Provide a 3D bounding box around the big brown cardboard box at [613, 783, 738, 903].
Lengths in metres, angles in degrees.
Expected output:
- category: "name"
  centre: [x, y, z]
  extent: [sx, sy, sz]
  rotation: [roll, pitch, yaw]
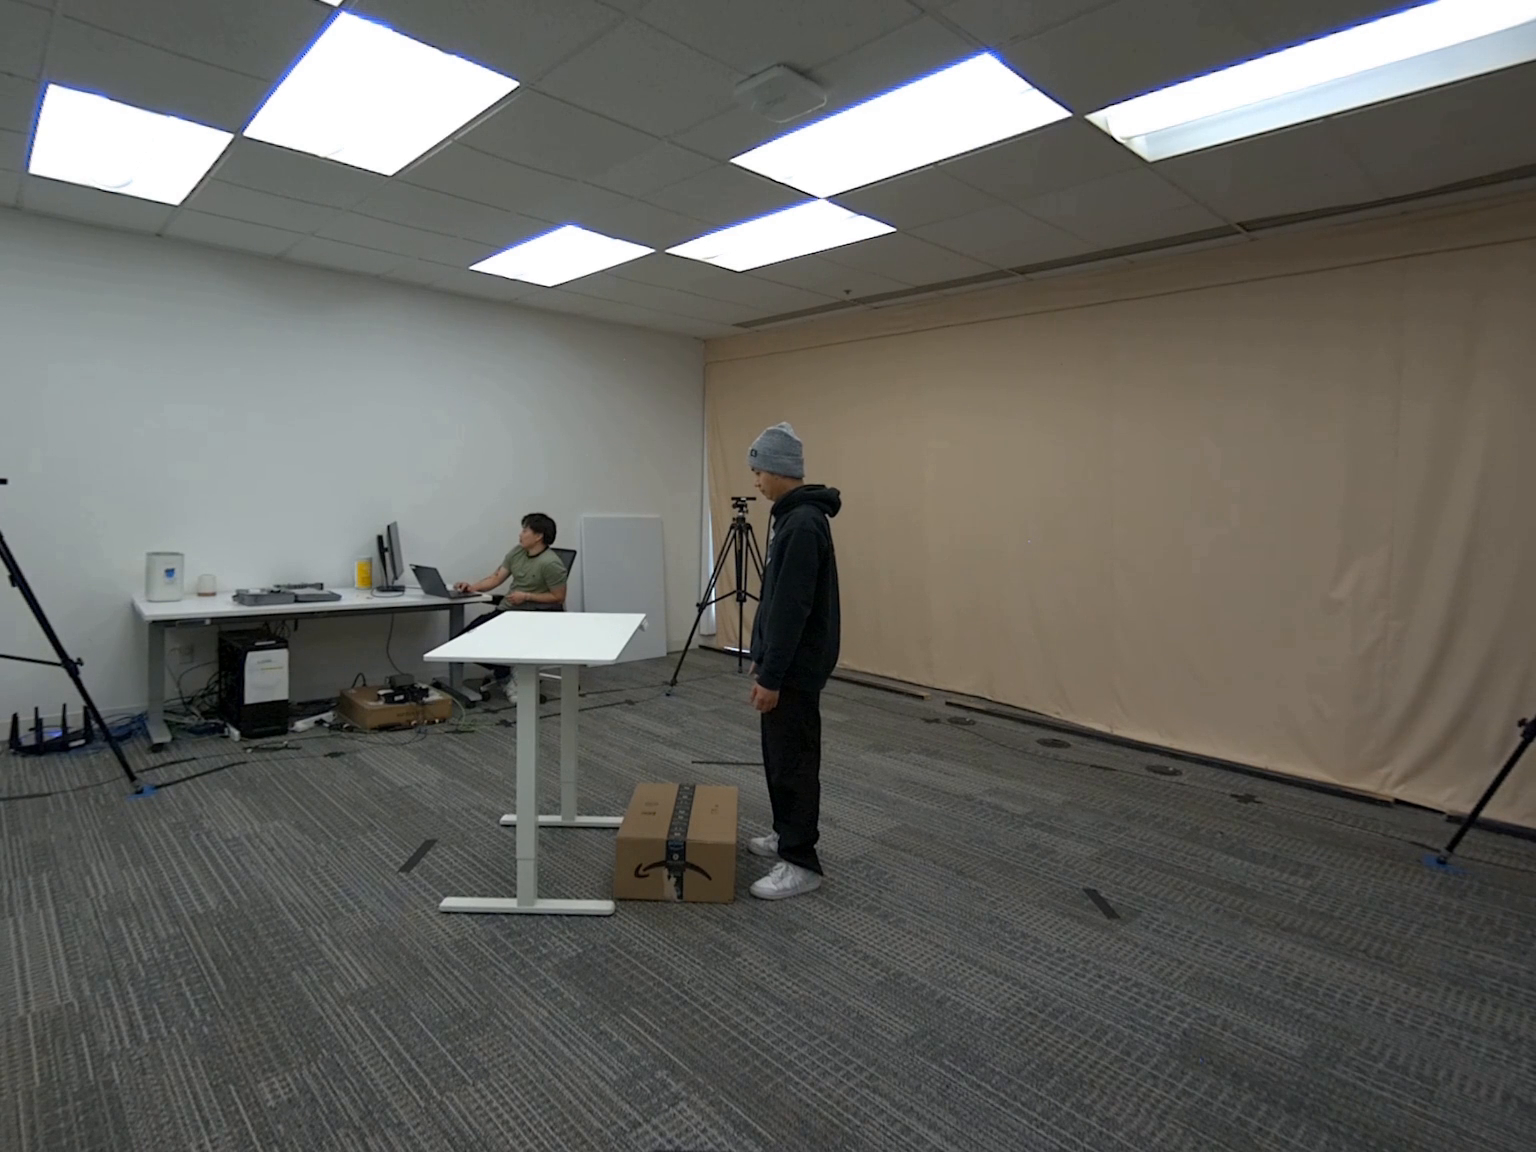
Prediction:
- category: "big brown cardboard box"
  centre: [-0.327, 0.983, 3.167]
  extent: [0.418, 0.232, 0.590]
  rotation: [1, 4, 0]
